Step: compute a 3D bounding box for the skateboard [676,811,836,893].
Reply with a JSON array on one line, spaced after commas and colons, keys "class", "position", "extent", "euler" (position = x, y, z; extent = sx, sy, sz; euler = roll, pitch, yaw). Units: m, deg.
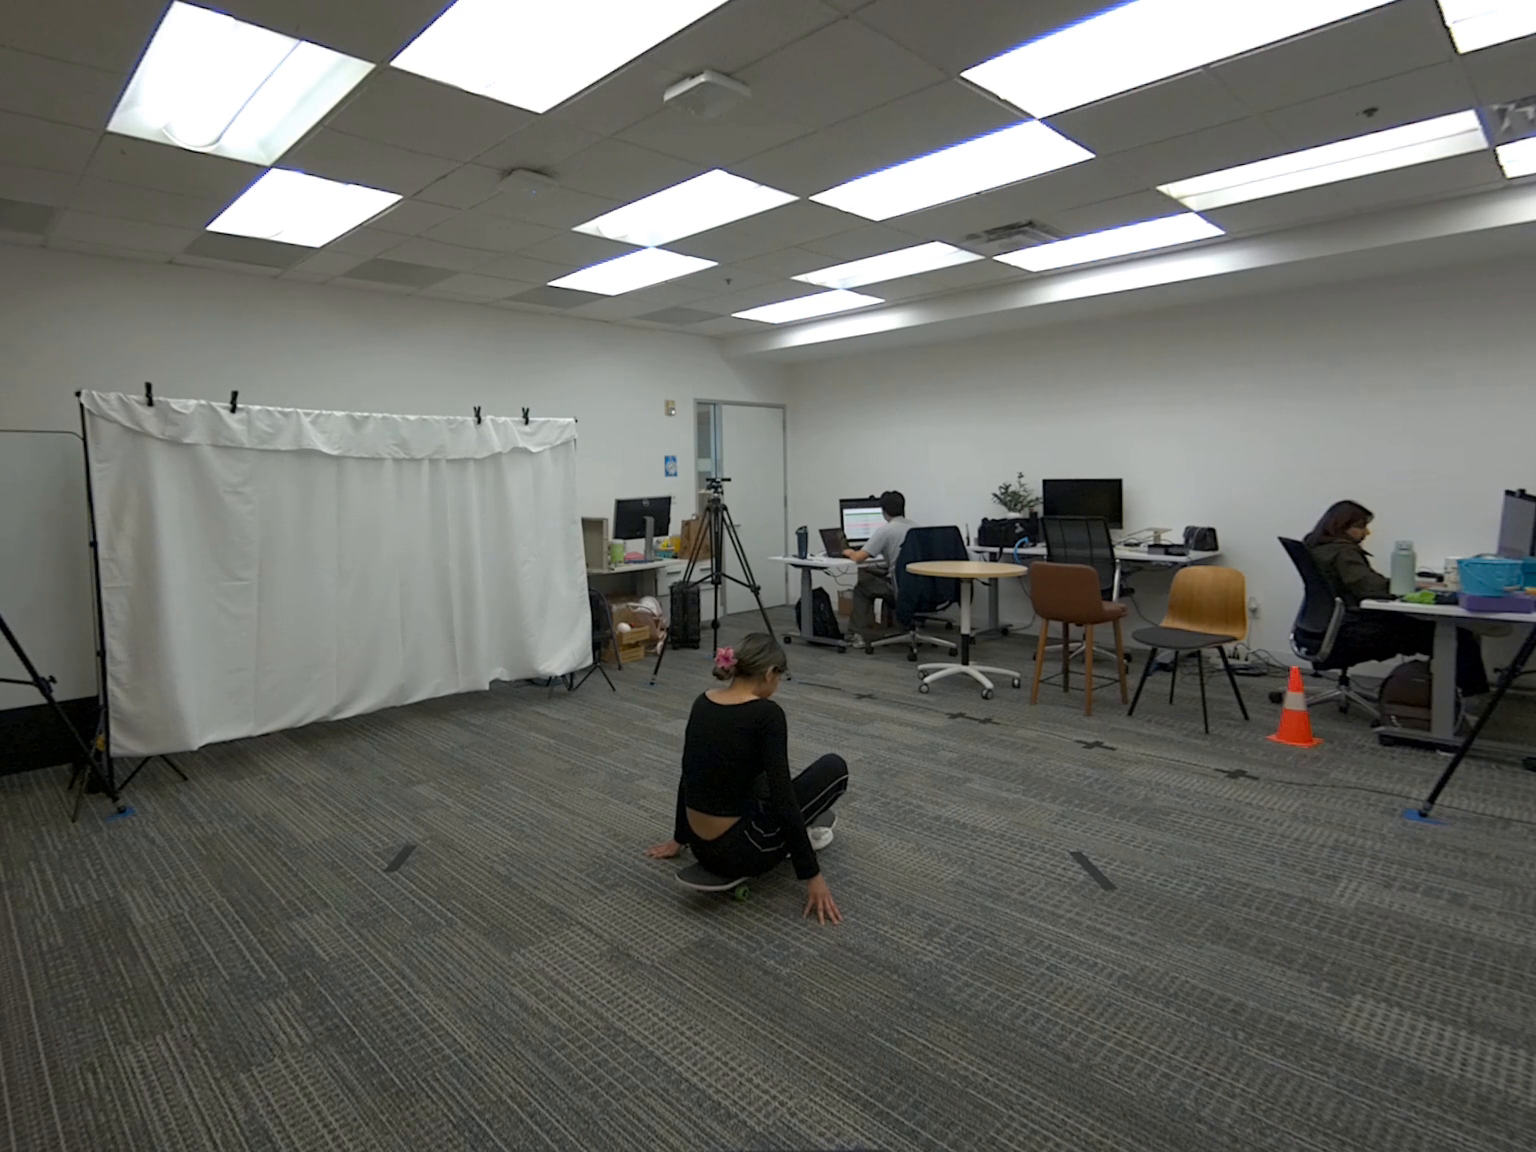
[{"class": "skateboard", "position": [-0.018, 0.990, 3.039], "extent": [0.199, 0.110, 0.766], "euler": [4, 10, 40]}]
